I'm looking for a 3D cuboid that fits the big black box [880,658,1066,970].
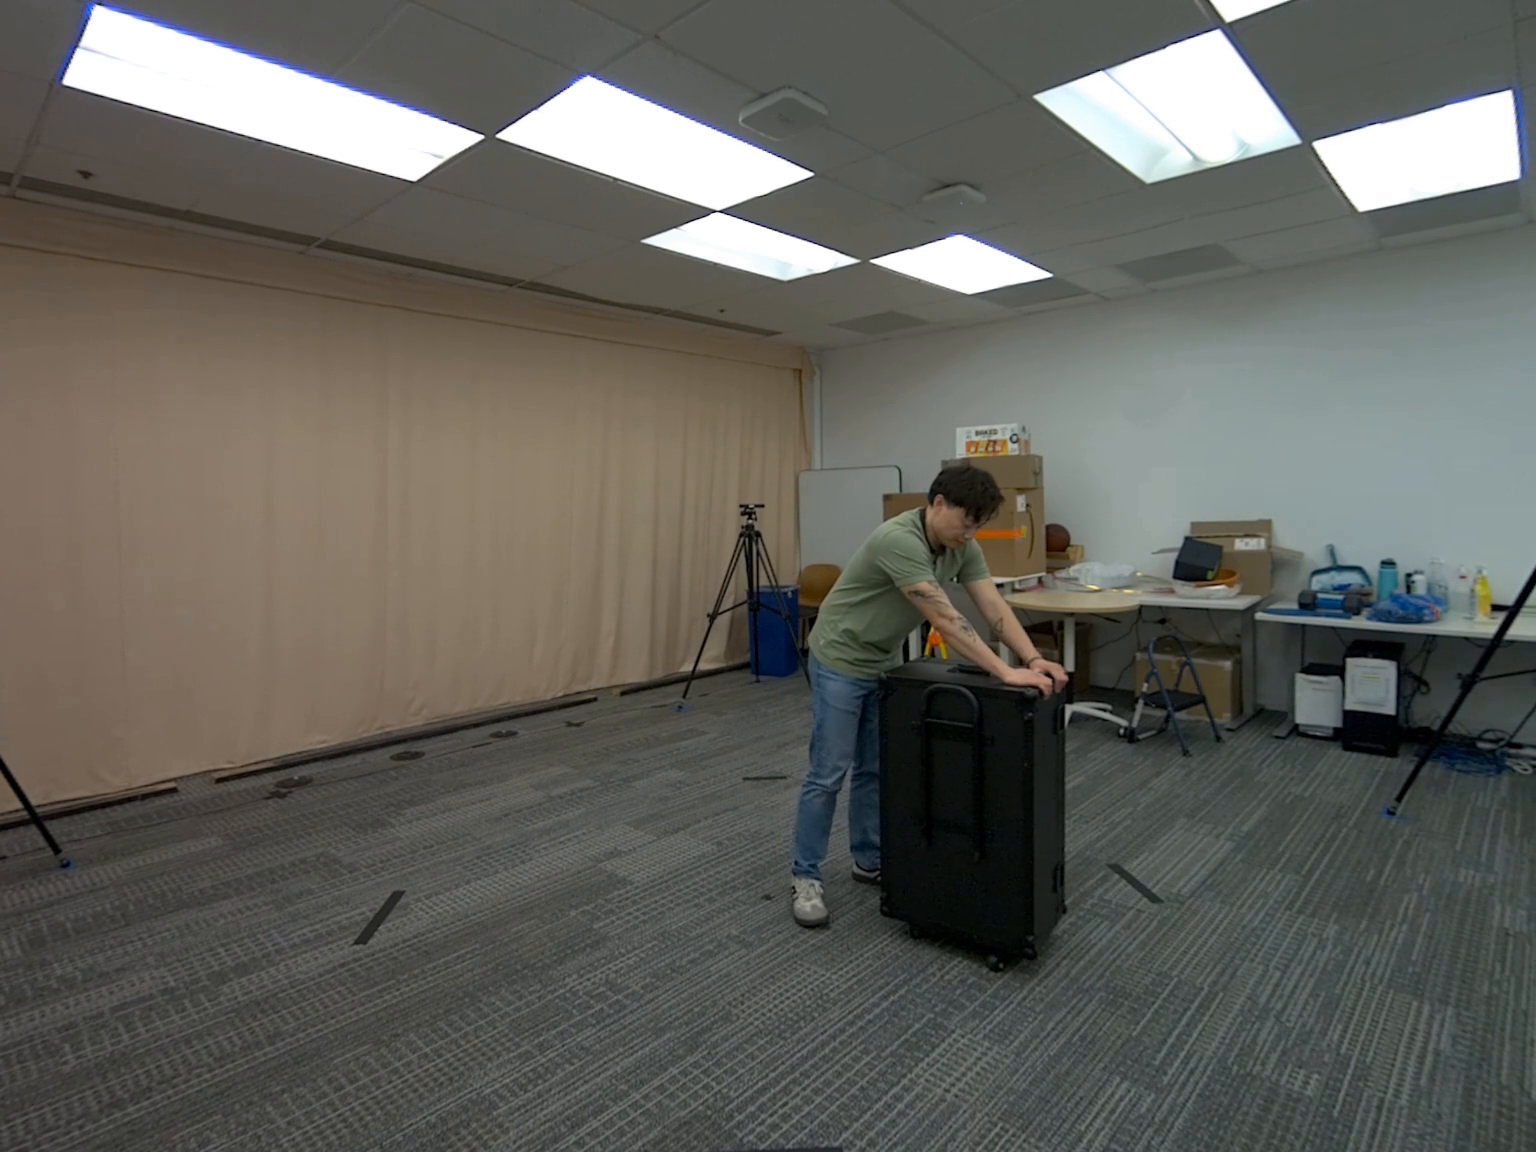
[{"bbox_3d":[0.661,0.733,2.659,0.537,0.859,0.385,1,5,35],"label":"big black box"}]
